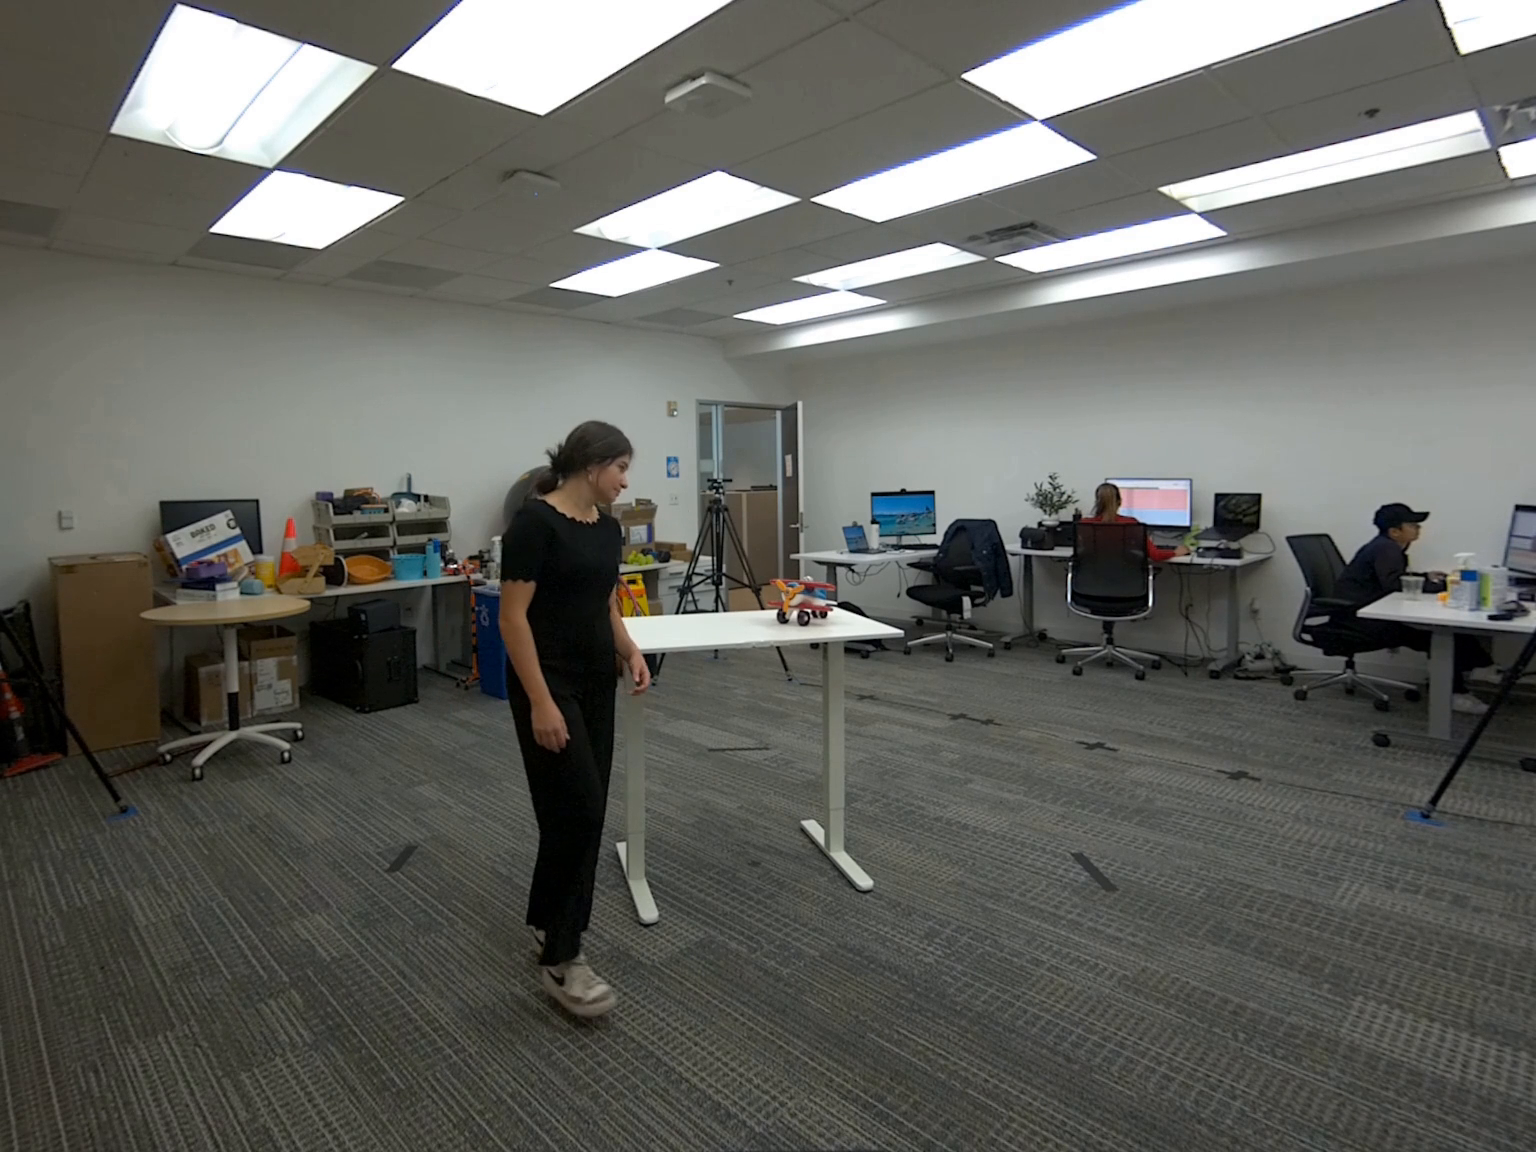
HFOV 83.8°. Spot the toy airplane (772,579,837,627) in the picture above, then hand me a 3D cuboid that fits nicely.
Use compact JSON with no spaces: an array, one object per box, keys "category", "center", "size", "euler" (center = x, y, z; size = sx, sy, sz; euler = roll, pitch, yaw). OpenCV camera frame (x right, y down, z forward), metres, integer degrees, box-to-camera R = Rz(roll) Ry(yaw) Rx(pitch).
[{"category":"toy airplane","center":[0.121,0.087,3.088],"size":[0.253,0.156,0.258],"euler":[1,6,7]}]
